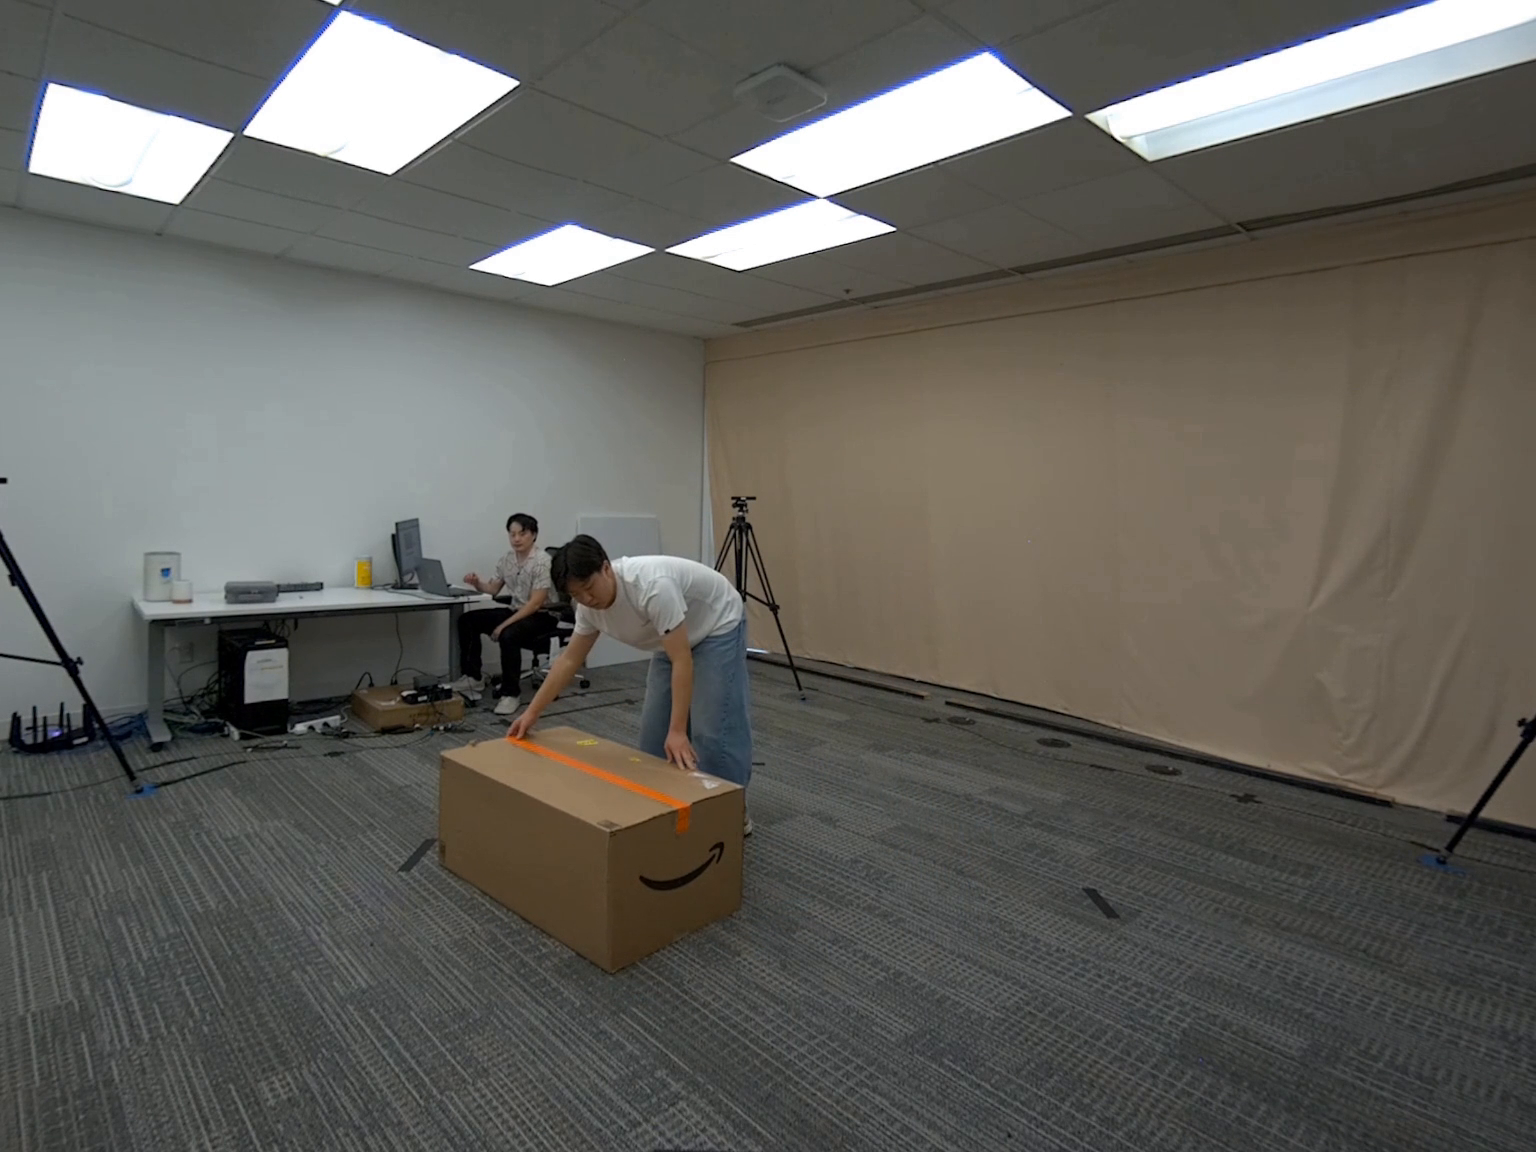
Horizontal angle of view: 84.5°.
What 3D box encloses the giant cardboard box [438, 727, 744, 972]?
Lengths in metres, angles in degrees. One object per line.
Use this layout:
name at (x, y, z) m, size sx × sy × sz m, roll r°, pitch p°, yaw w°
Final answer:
giant cardboard box at (-0.651, 0.892, 2.970) m, size 1.052 × 0.425 × 0.564 m, roll 5°, pitch 5°, yaw 42°
